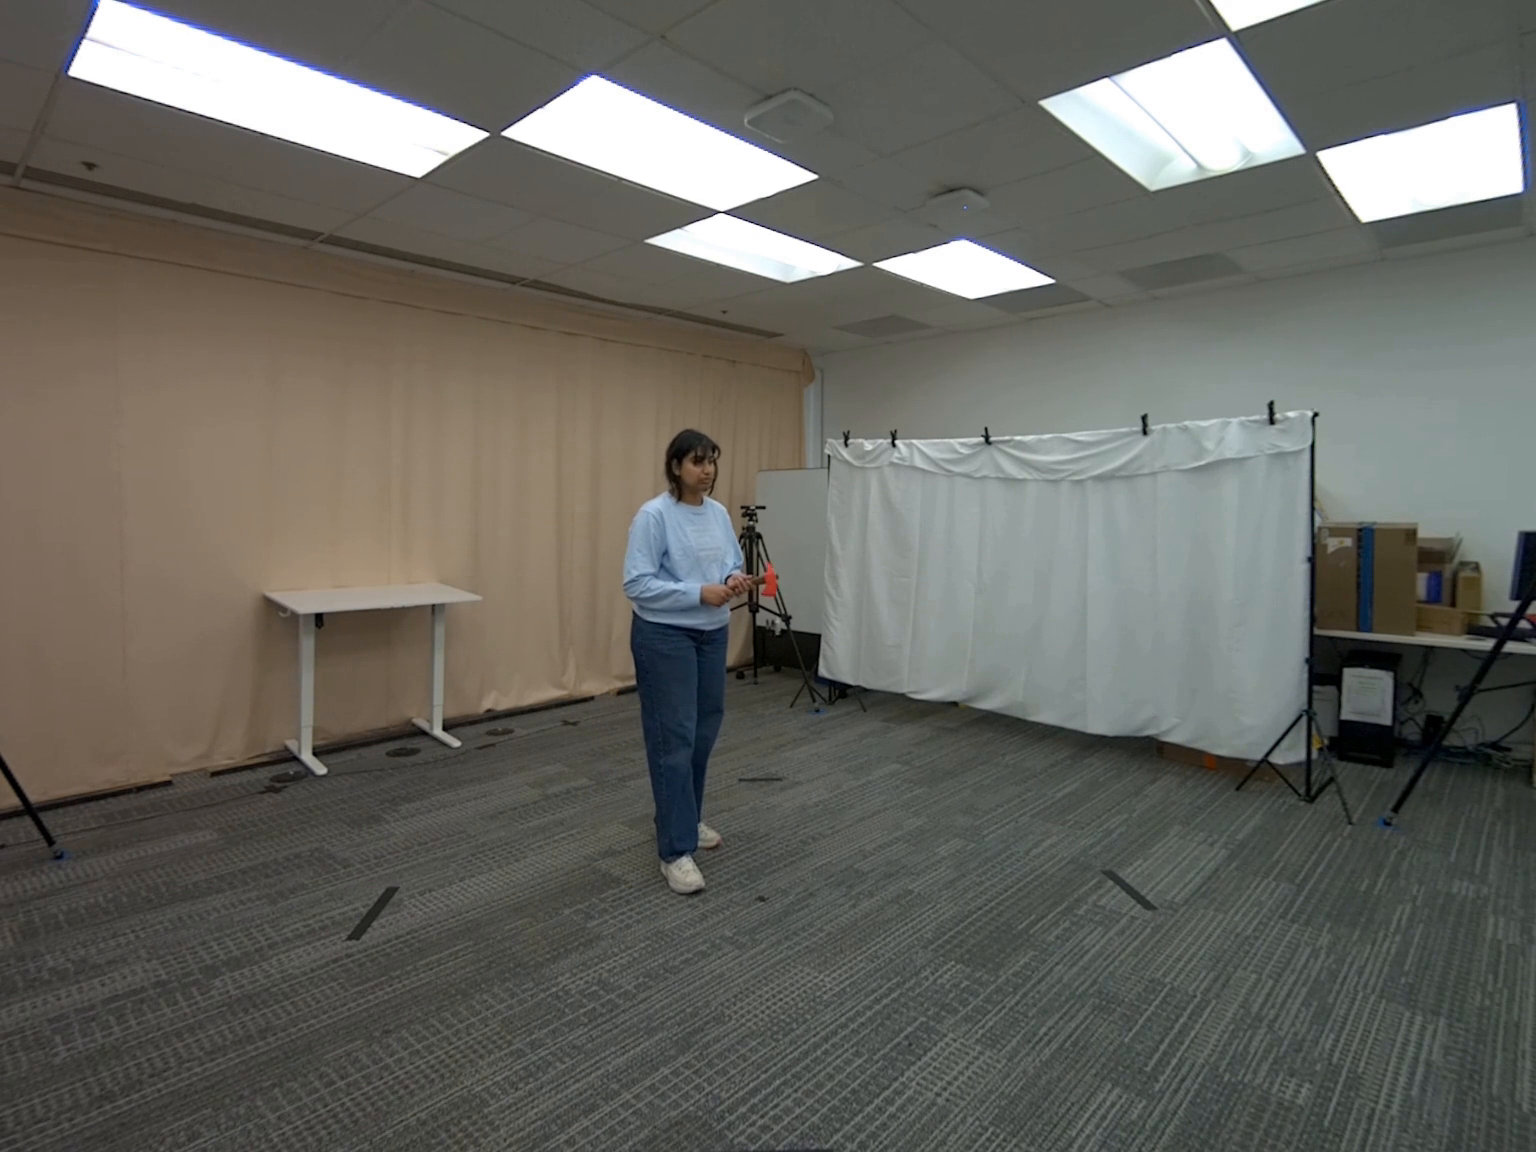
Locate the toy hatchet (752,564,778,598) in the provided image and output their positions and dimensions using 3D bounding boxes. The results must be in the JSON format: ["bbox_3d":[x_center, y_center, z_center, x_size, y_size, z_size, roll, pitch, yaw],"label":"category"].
[{"bbox_3d":[-0.079,0.050,3.199,0.273,0.131,0.029,-30,0,17],"label":"toy hatchet"}]
